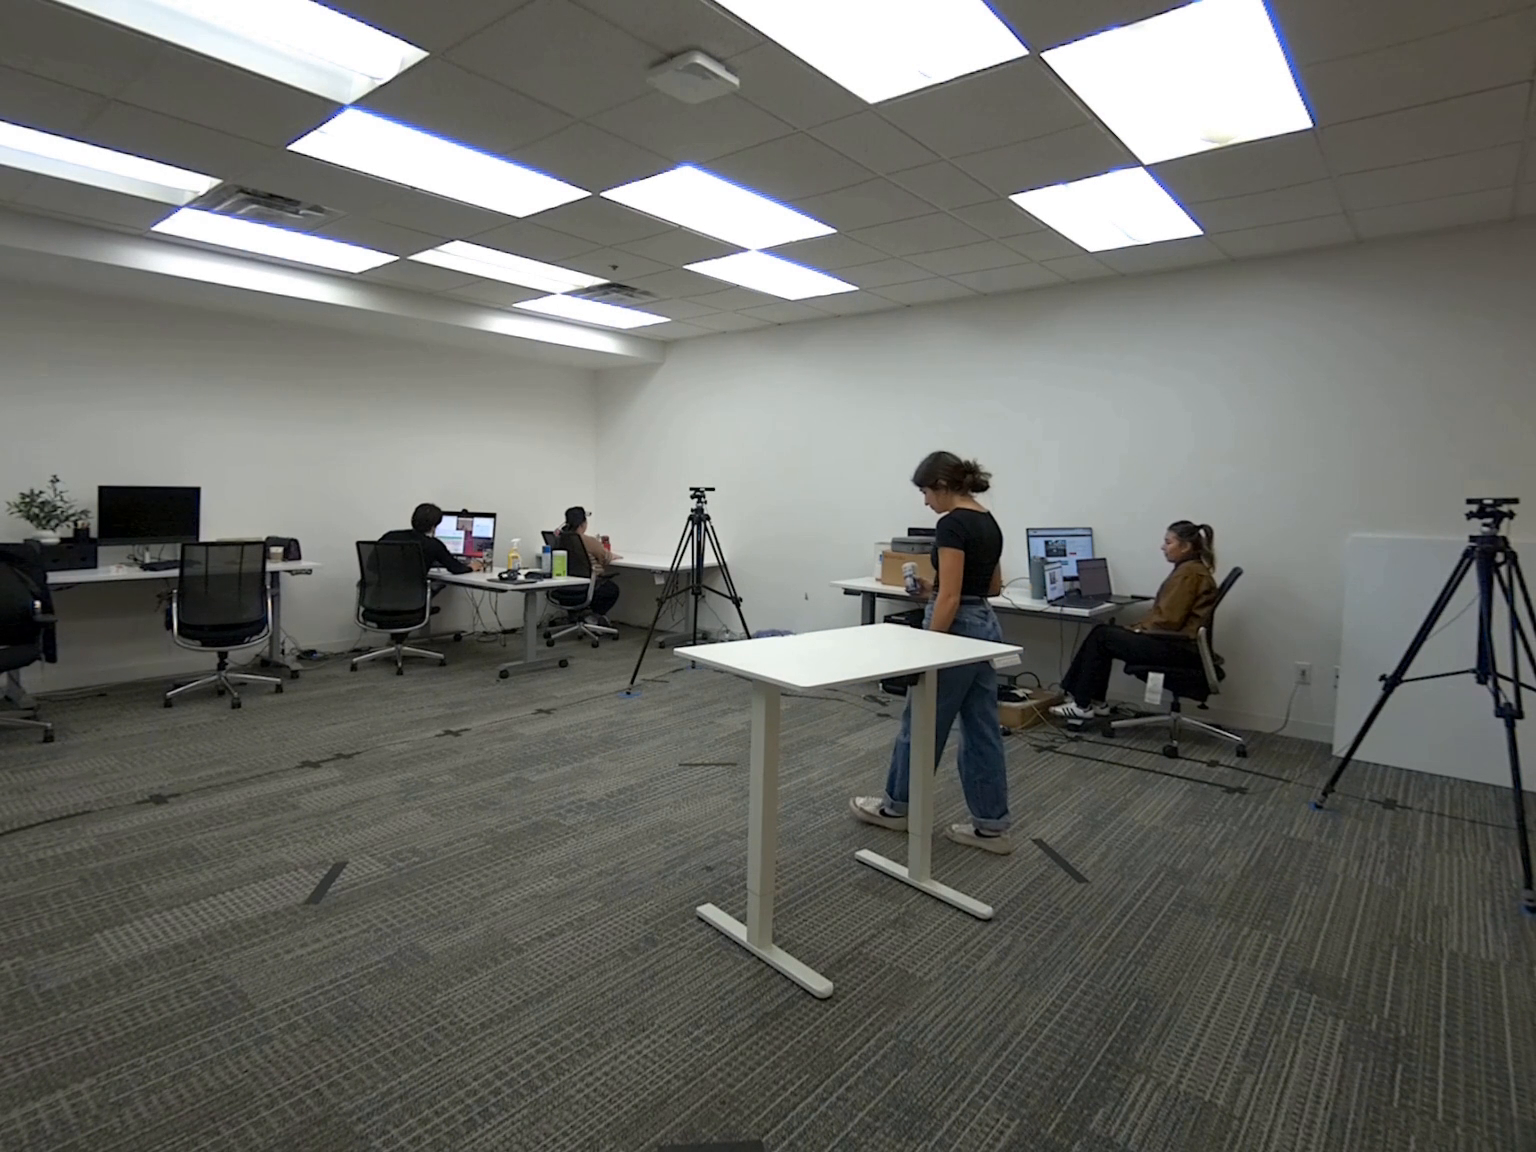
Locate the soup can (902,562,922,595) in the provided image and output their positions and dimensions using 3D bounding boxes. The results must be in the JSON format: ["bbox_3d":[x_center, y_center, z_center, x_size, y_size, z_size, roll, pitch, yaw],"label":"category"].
[{"bbox_3d":[0.612,0.001,3.660,0.067,0.124,0.066,-2,-20,-3],"label":"soup can"}]
